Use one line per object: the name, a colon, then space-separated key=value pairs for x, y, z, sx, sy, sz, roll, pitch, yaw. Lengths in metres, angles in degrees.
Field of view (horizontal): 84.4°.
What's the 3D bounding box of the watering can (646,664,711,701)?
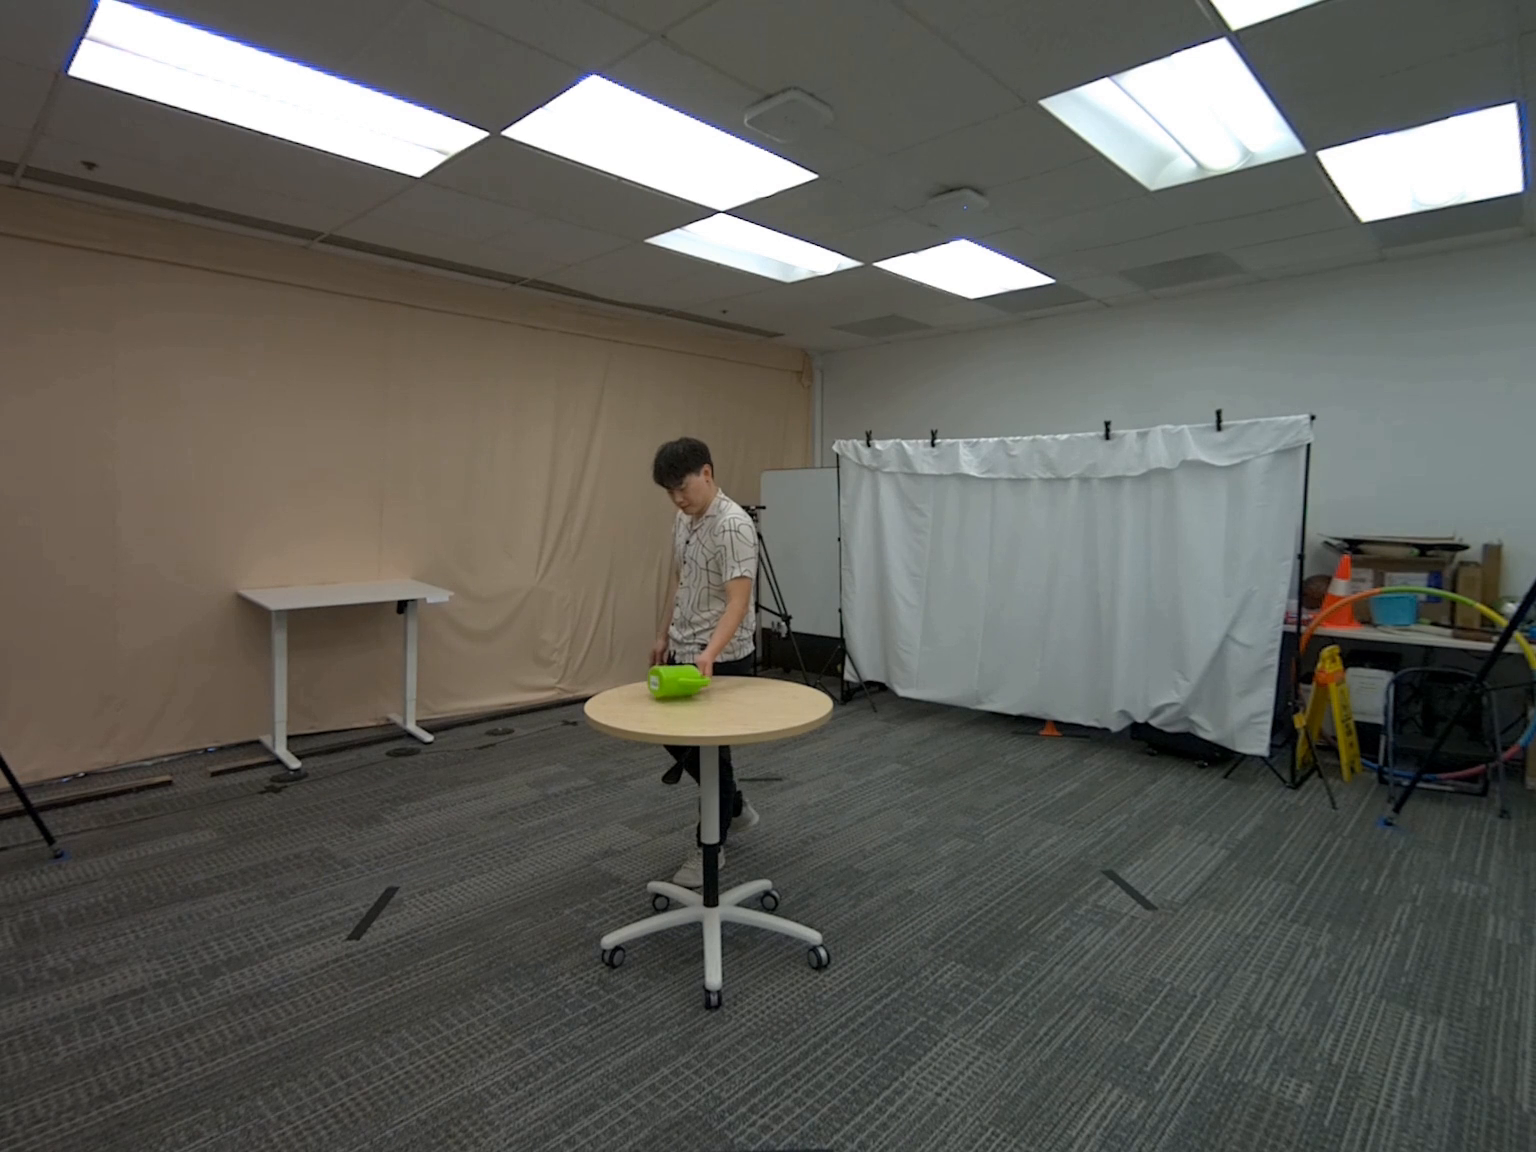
watering can: x=-0.298 y=0.339 z=2.704 sx=0.172 sy=0.099 sz=0.283 roll=2 pitch=-14 yaw=-29
